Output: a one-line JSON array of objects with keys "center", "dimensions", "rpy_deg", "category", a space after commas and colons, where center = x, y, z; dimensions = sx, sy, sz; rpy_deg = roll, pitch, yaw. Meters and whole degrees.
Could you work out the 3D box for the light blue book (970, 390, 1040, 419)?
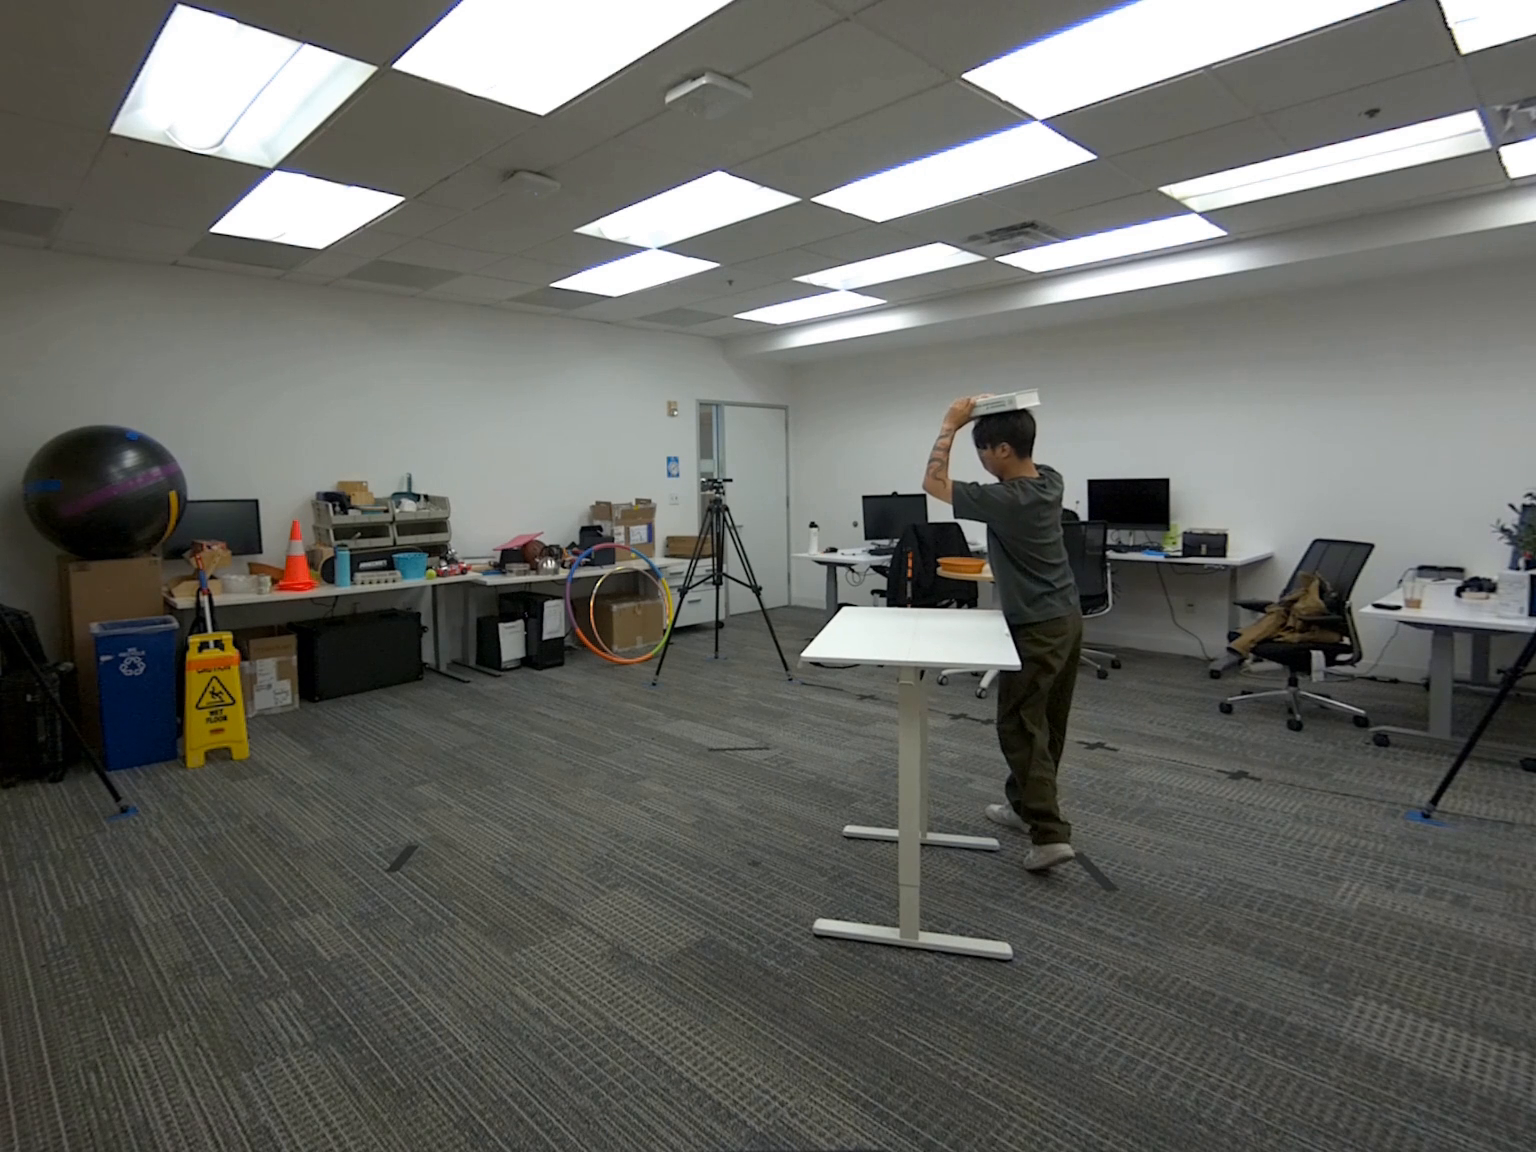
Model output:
[{"center": [0.856, -0.637, 3.169], "dimensions": [0.268, 0.058, 0.187], "rpy_deg": [-1, 12, 45], "category": "light blue book"}]
